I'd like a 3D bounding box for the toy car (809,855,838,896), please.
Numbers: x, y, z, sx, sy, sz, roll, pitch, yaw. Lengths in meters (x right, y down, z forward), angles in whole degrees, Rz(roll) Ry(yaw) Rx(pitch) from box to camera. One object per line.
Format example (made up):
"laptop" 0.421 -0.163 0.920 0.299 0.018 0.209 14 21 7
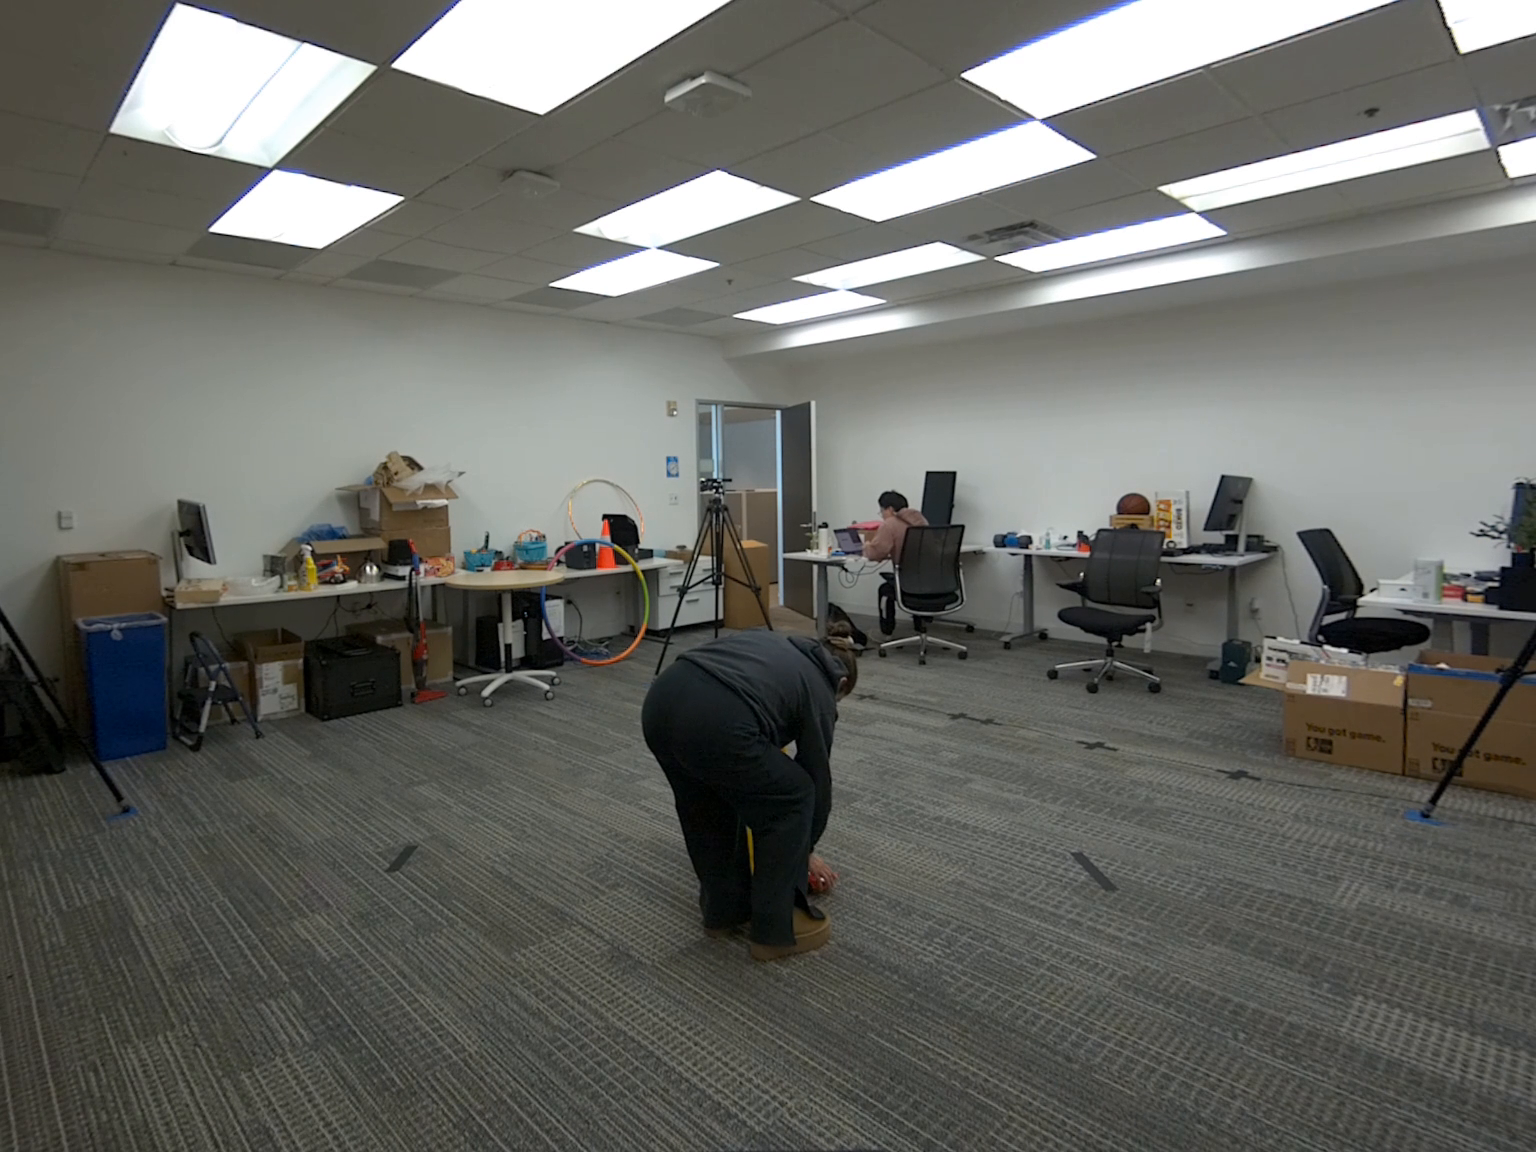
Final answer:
"toy car" 0.111 1.029 2.929 0.260 0.083 0.127 -10 0 42
